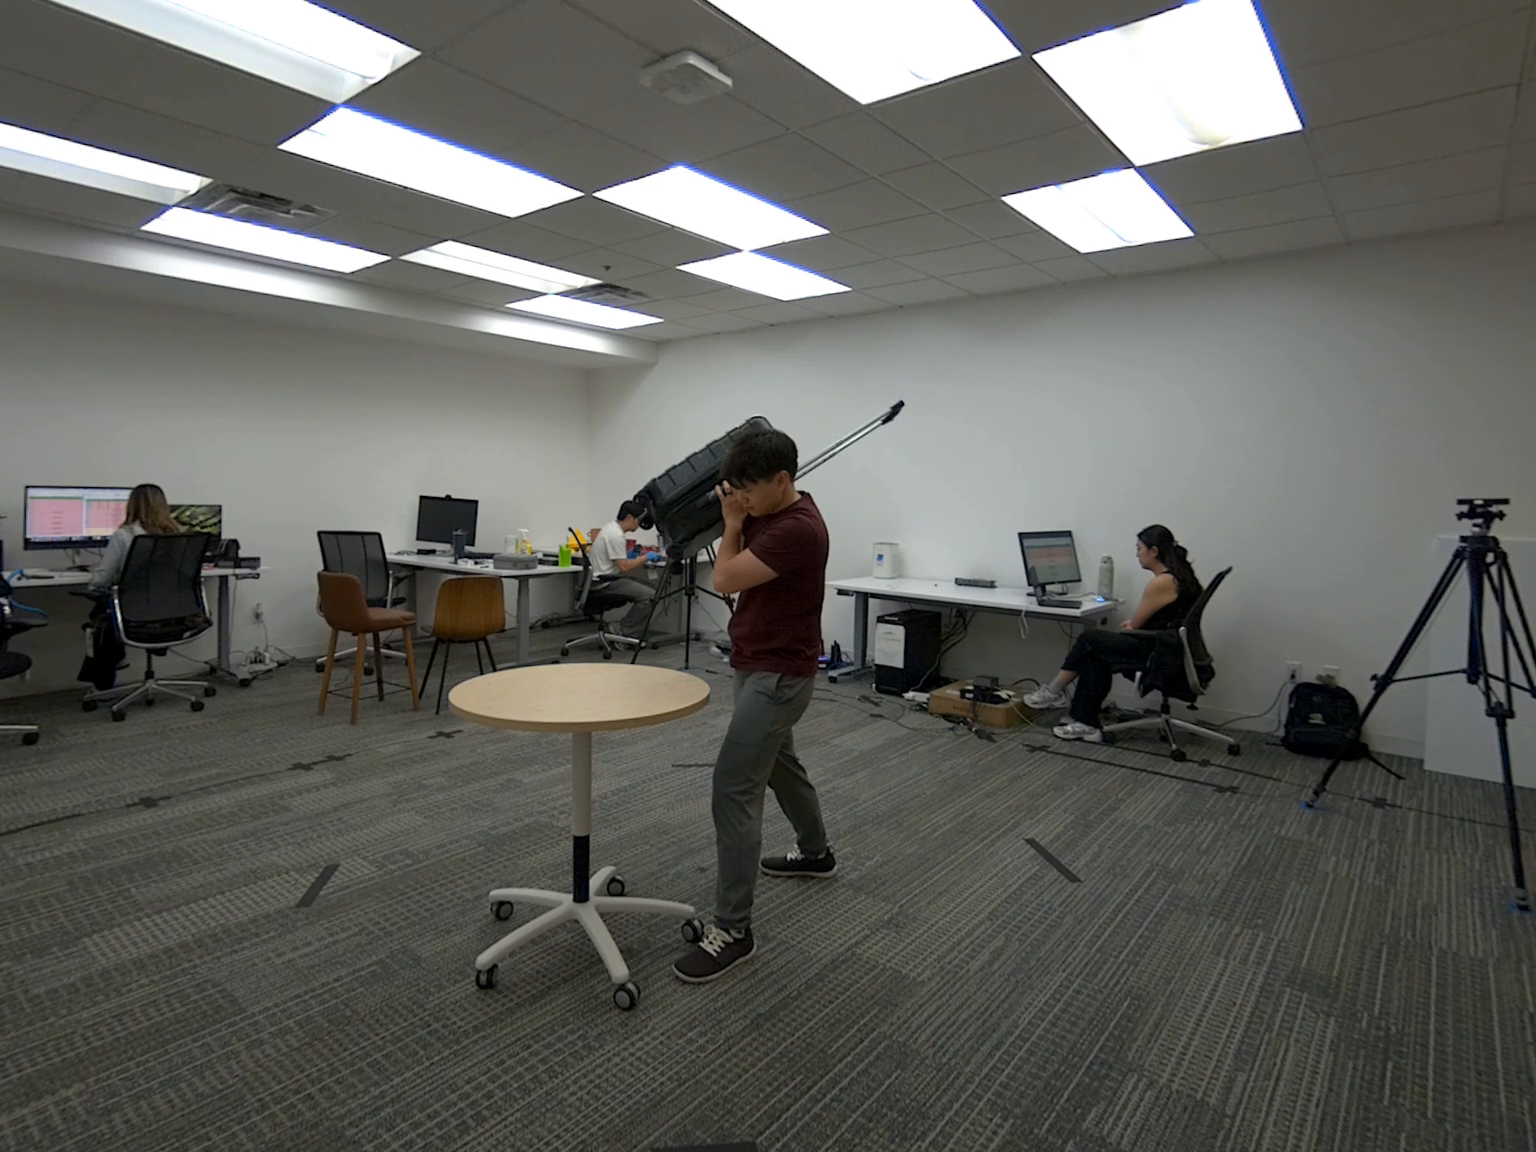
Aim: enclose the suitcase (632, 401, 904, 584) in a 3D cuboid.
[{"bbox_3d":[-0.018,-0.411,2.946,0.976,0.260,0.381,-35,-6,-8],"label":"suitcase"}]
